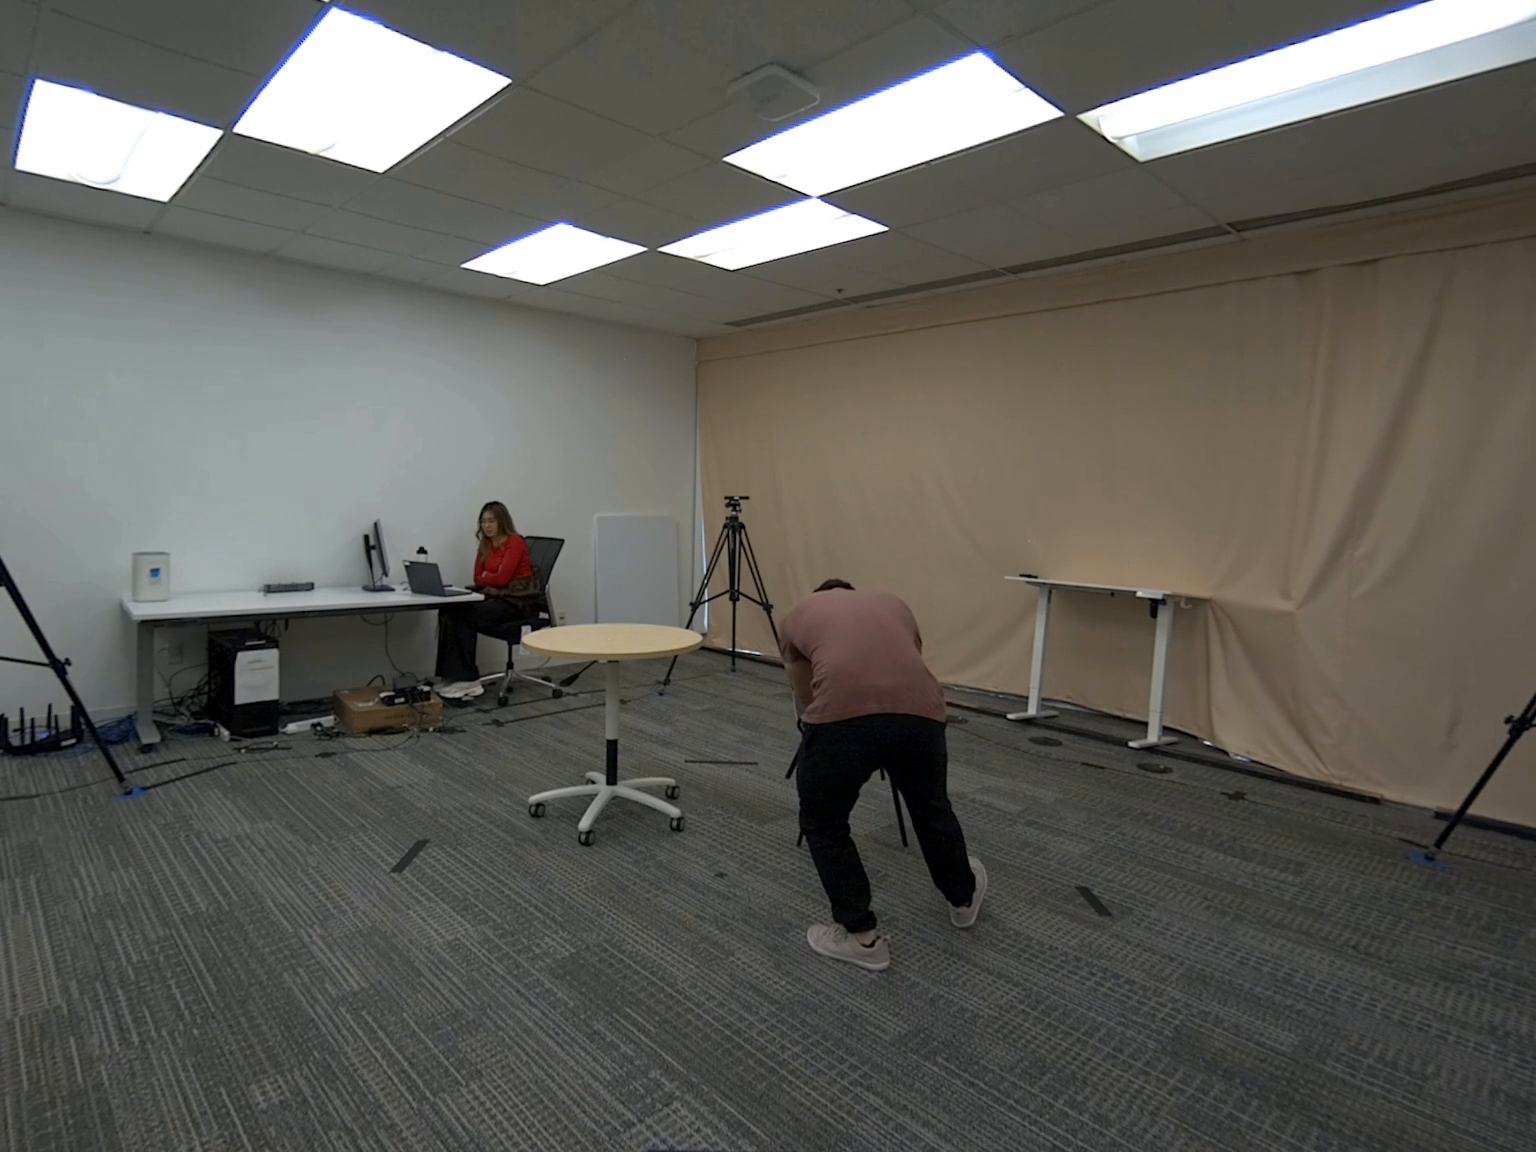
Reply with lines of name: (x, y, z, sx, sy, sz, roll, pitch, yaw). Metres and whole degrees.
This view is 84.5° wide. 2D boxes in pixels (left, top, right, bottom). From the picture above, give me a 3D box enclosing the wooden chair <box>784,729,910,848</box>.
wooden chair: (0.341, 0.612, 3.457, 0.477, 0.863, 0.533, 1, 25, -4)
